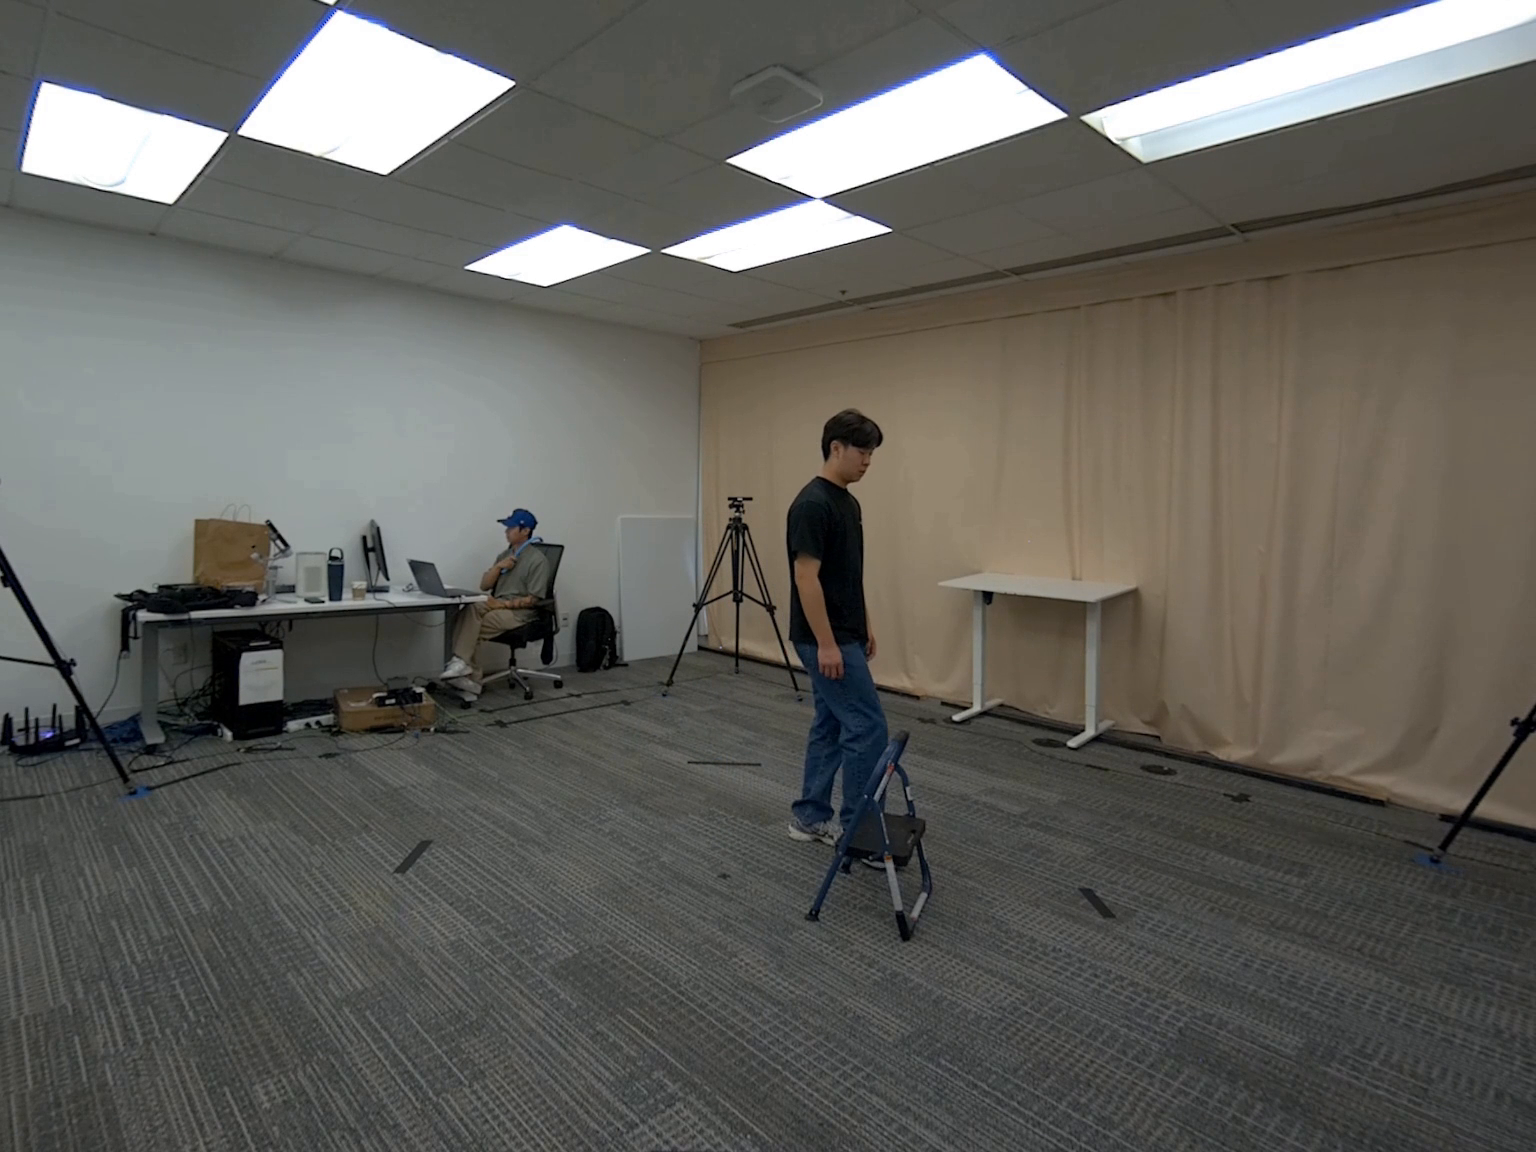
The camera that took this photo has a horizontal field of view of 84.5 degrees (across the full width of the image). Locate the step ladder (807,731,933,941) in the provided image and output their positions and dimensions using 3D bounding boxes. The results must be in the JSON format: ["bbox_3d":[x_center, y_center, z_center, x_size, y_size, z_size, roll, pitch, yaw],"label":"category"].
[{"bbox_3d":[0.363,0.837,2.899,0.355,0.604,0.424,3,4,22],"label":"step ladder"}]
